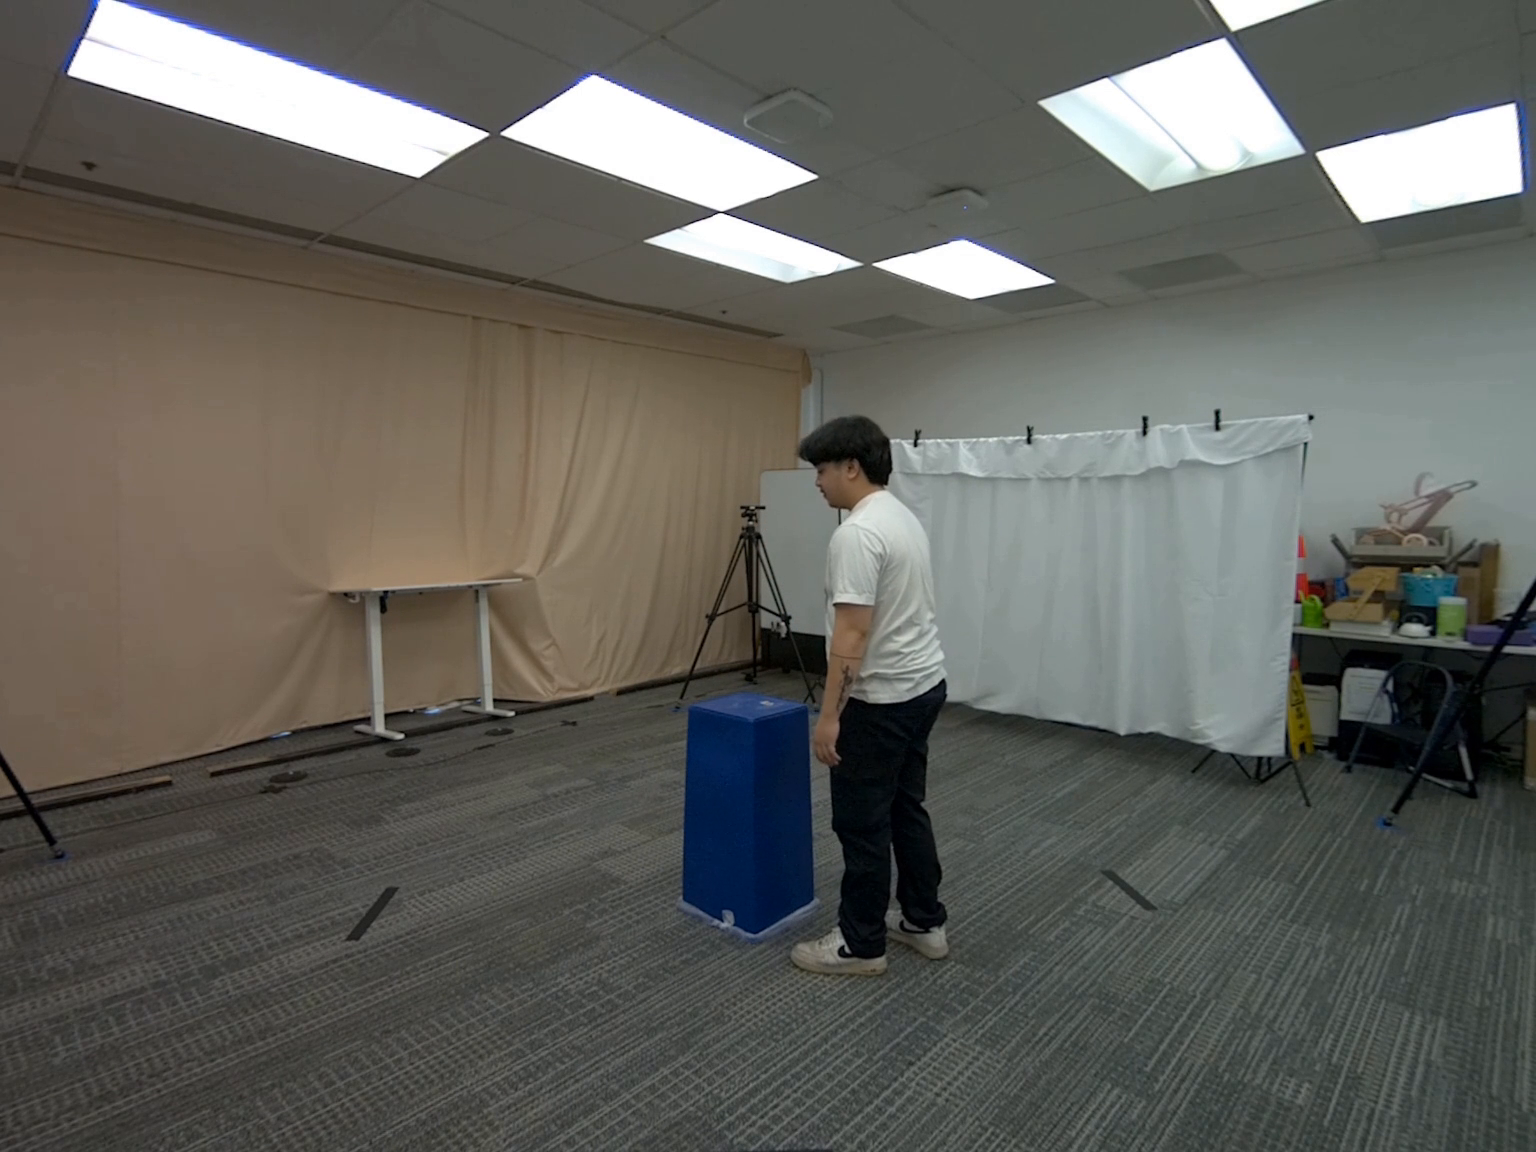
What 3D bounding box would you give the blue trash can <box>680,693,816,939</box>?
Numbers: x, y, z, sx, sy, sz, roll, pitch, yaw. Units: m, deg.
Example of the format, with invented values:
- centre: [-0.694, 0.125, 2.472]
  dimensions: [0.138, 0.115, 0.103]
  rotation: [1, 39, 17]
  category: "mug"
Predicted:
- centre: [-0.059, 0.795, 2.913]
  dimensions: [0.390, 0.712, 0.362]
  rotation: [3, 3, 42]
  category: "blue trash can"
